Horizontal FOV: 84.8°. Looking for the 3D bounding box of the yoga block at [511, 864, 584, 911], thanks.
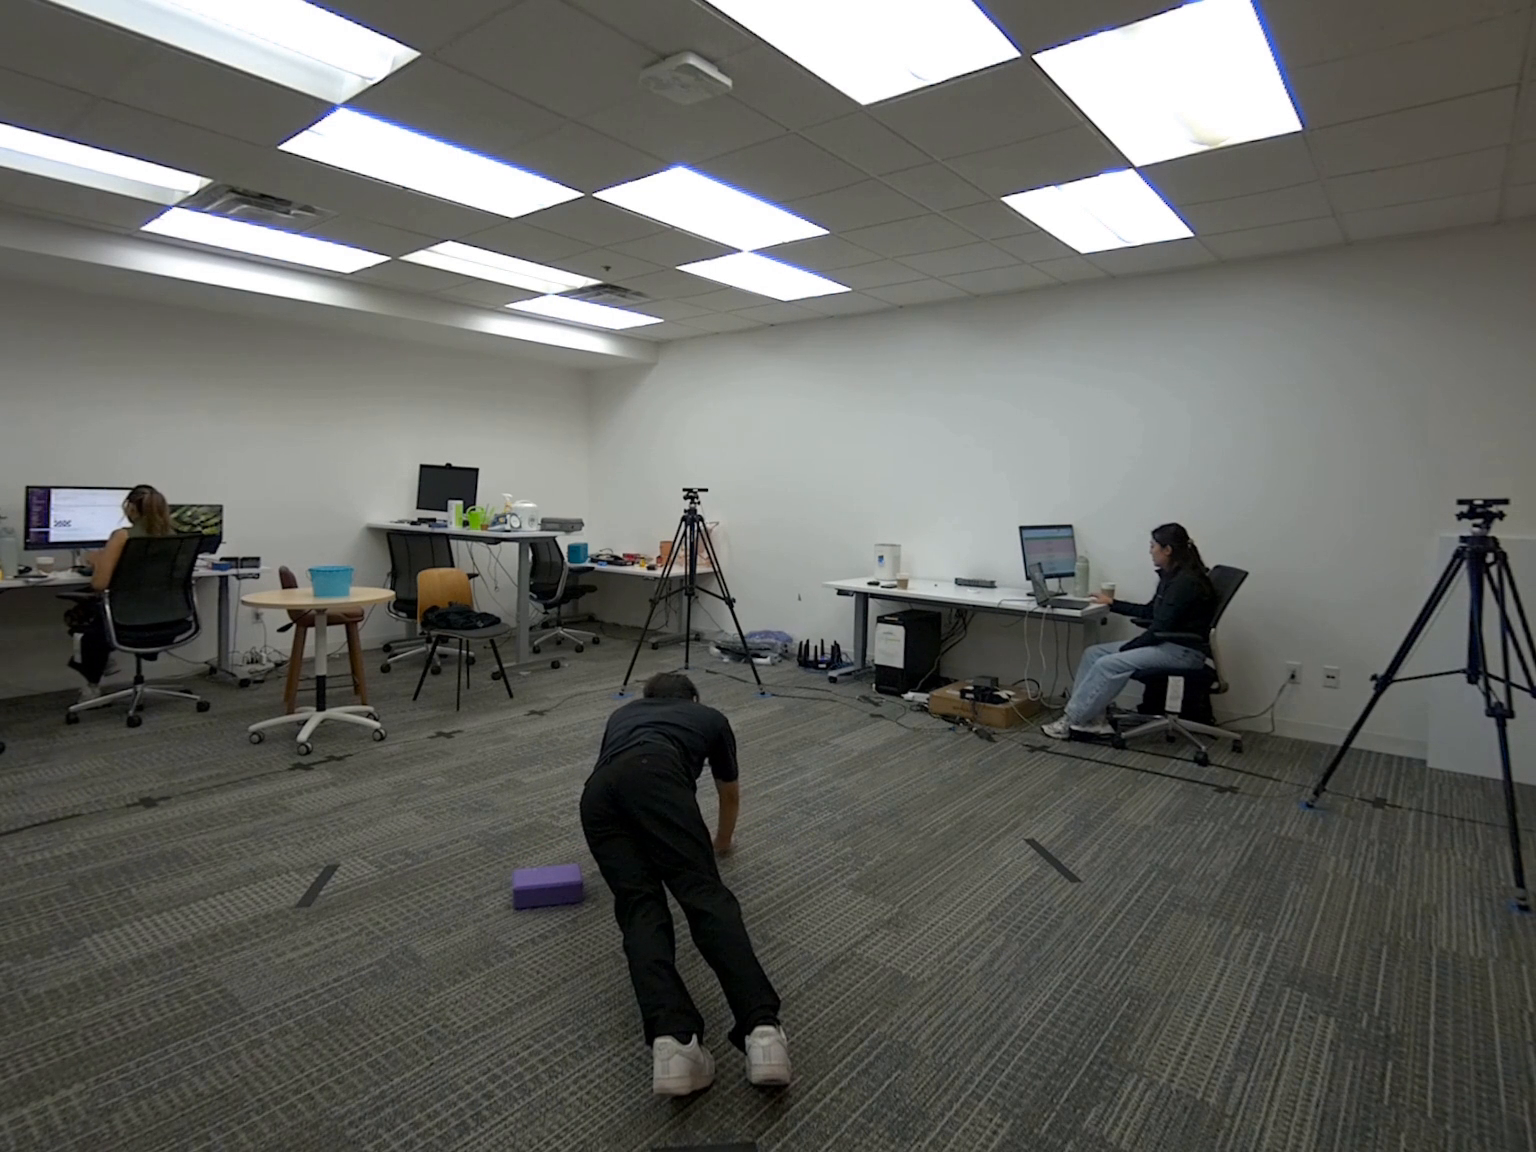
[{"bbox_3d":[-0.757,1.043,2.875,0.226,0.076,0.152,0,5,-15],"label":"yoga block"}]
